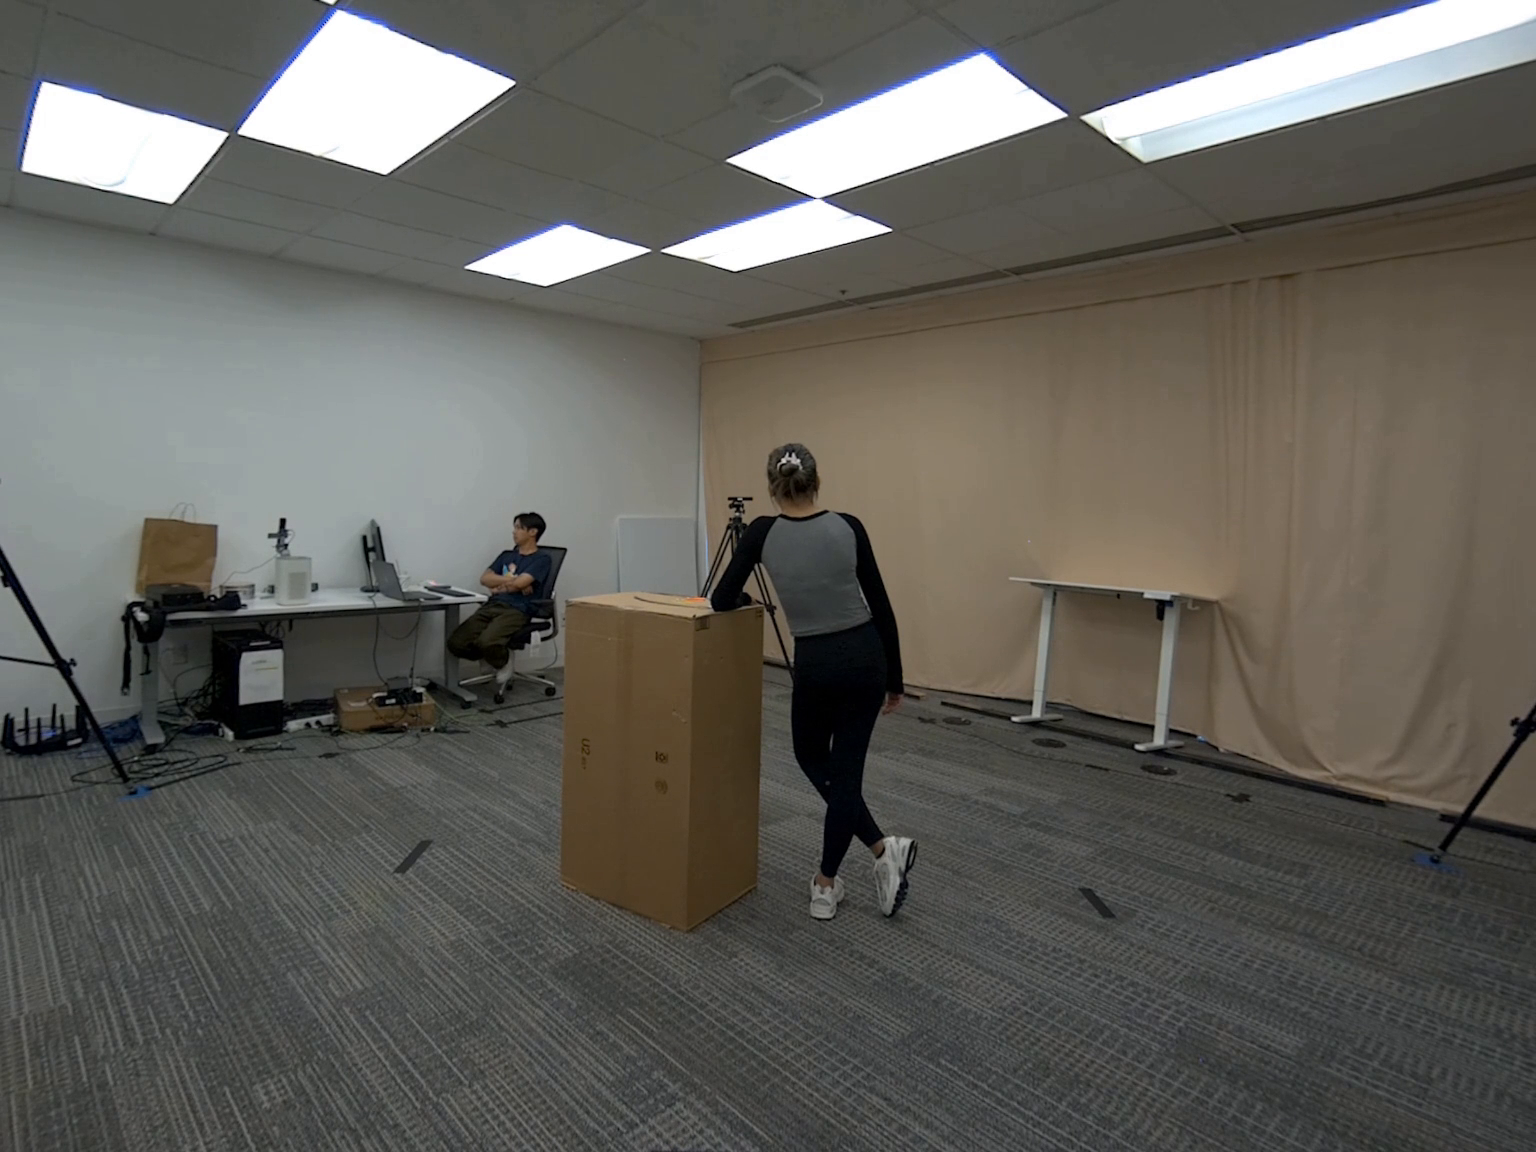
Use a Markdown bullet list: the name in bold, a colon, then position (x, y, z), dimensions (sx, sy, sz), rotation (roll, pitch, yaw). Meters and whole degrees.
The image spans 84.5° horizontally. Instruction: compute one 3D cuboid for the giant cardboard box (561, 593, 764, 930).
- **giant cardboard box**: position (-0.383, 0.603, 2.999), dimensions (0.591, 1.023, 0.417), rotation (4, 4, 34)
